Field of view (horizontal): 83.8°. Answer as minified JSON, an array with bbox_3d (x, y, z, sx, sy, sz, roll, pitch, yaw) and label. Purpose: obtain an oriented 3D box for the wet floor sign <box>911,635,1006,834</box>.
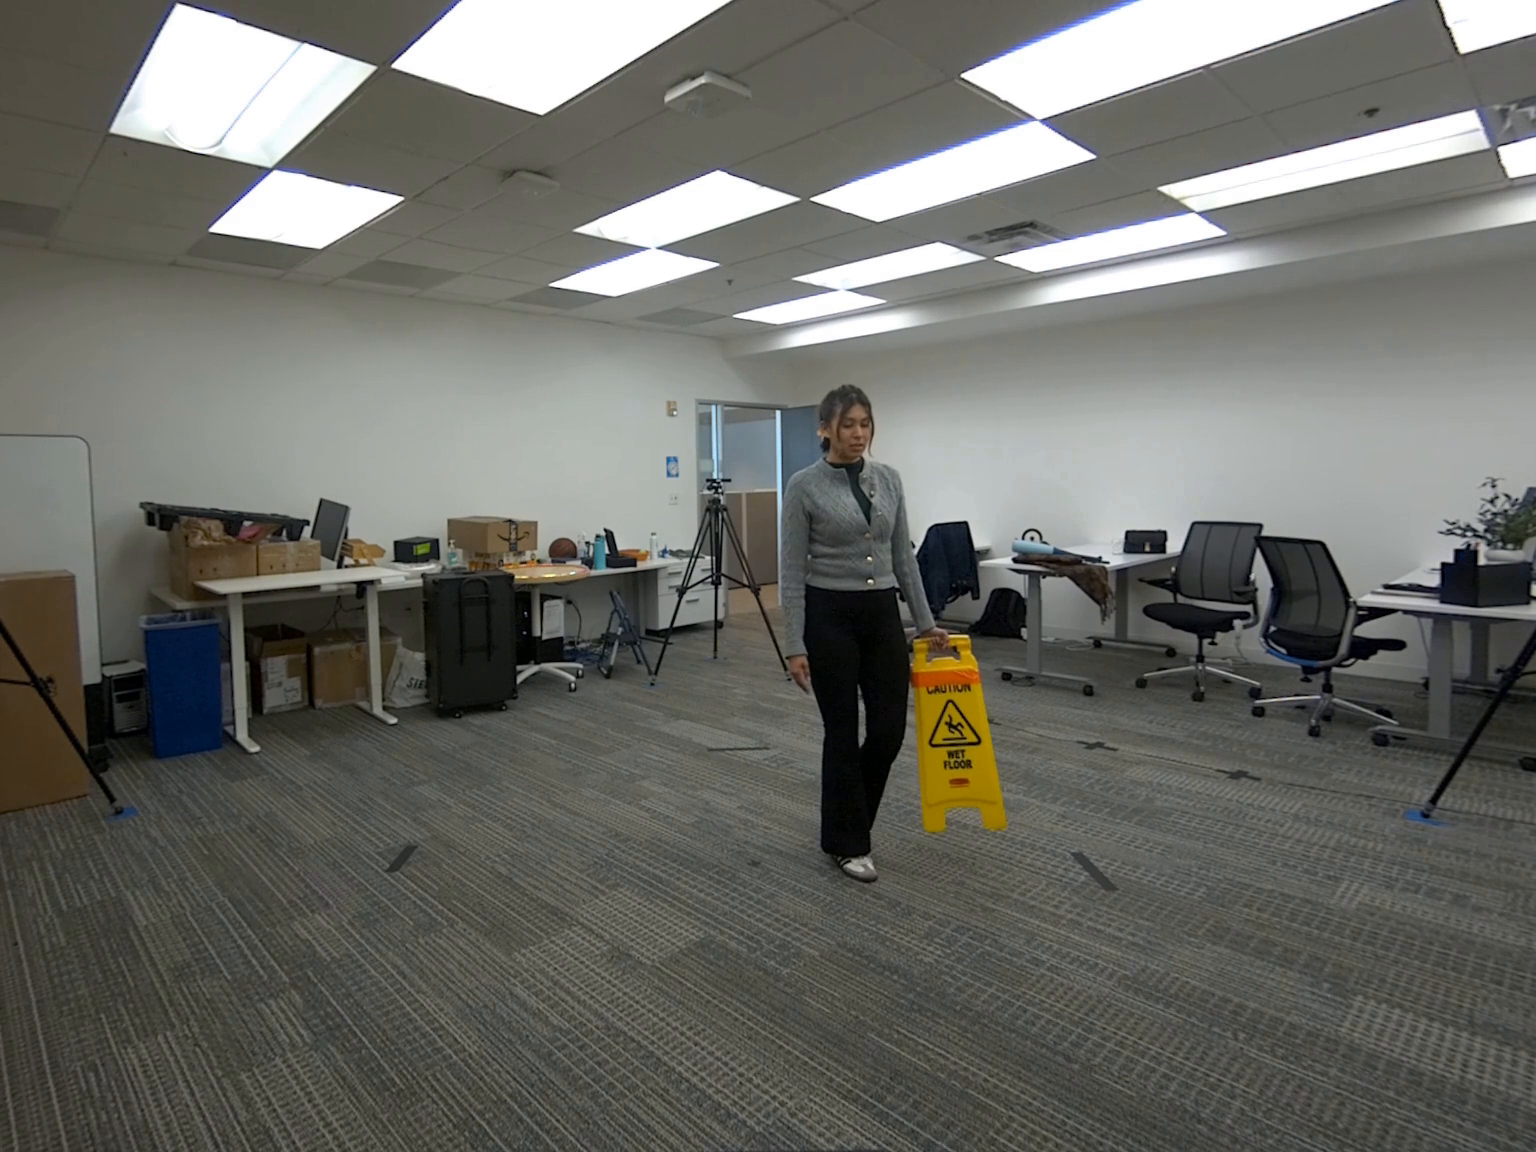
[{"bbox_3d":[0.654,0.533,3.055,0.284,0.644,0.288,-6,4,8],"label":"wet floor sign"}]
